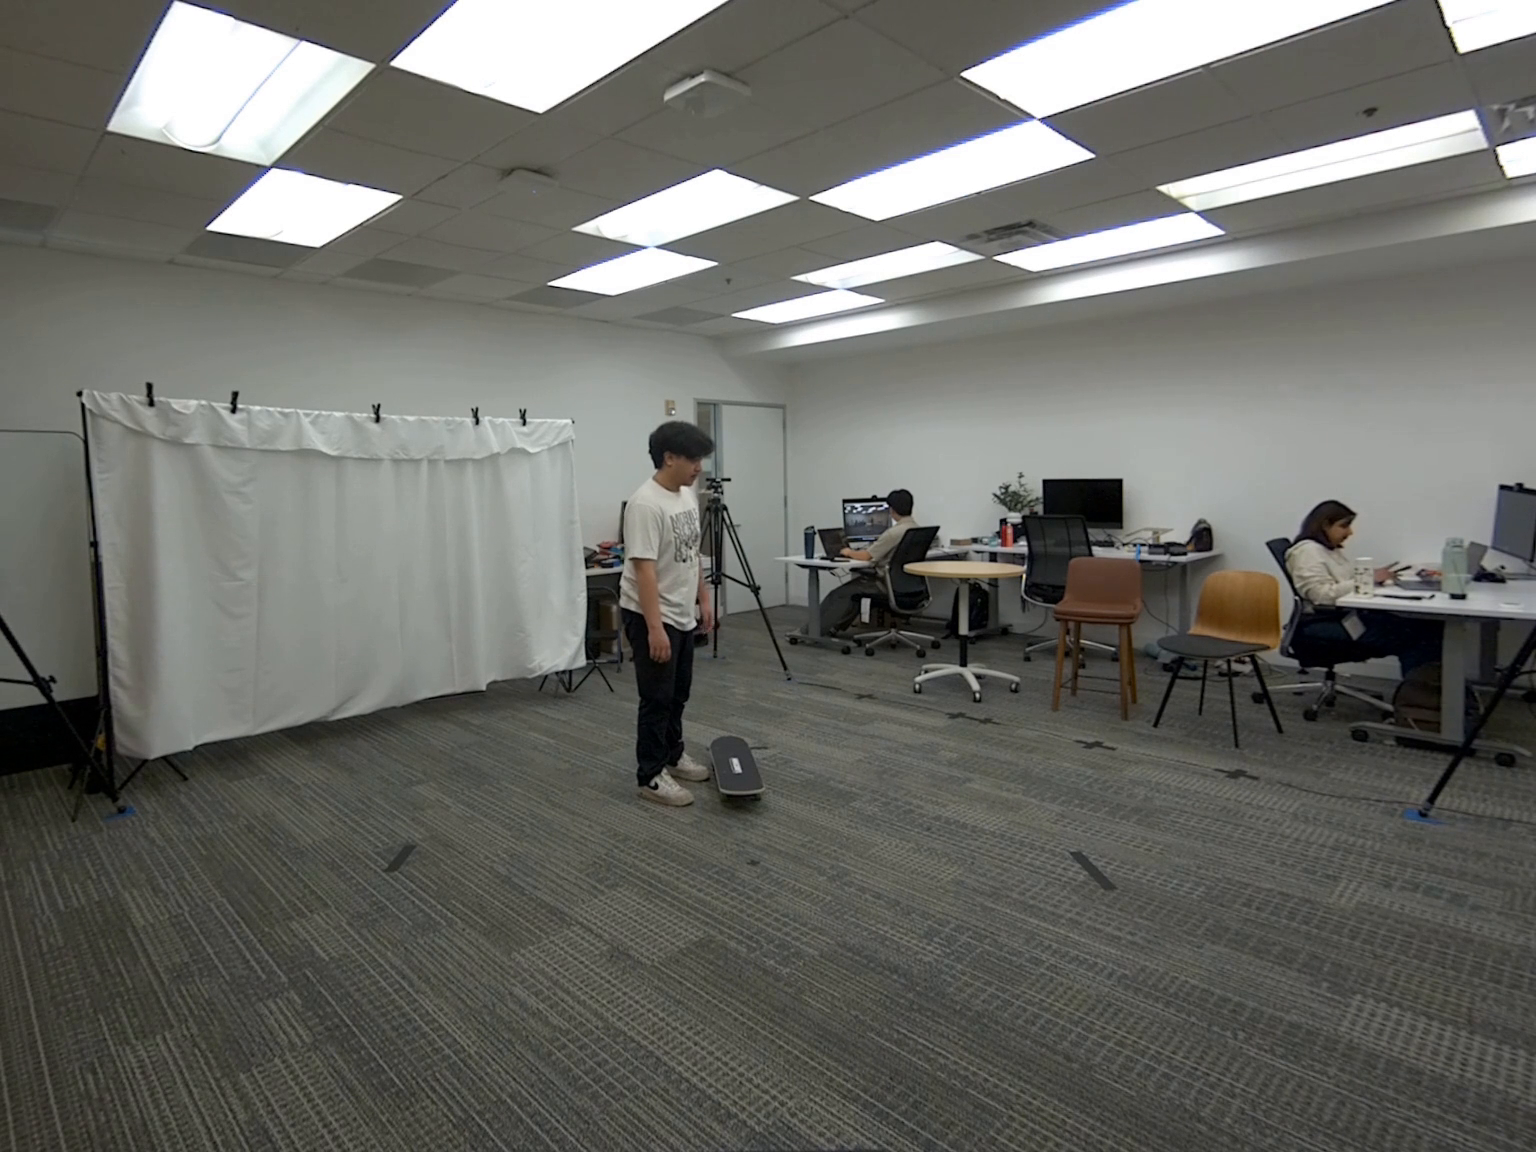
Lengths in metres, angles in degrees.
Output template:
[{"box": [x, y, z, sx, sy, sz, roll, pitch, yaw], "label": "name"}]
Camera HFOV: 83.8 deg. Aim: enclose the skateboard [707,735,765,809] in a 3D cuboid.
[{"box": [-0.147, 0.893, 3.899, 0.192, 0.110, 0.794, -2, 6, -8], "label": "skateboard"}]
